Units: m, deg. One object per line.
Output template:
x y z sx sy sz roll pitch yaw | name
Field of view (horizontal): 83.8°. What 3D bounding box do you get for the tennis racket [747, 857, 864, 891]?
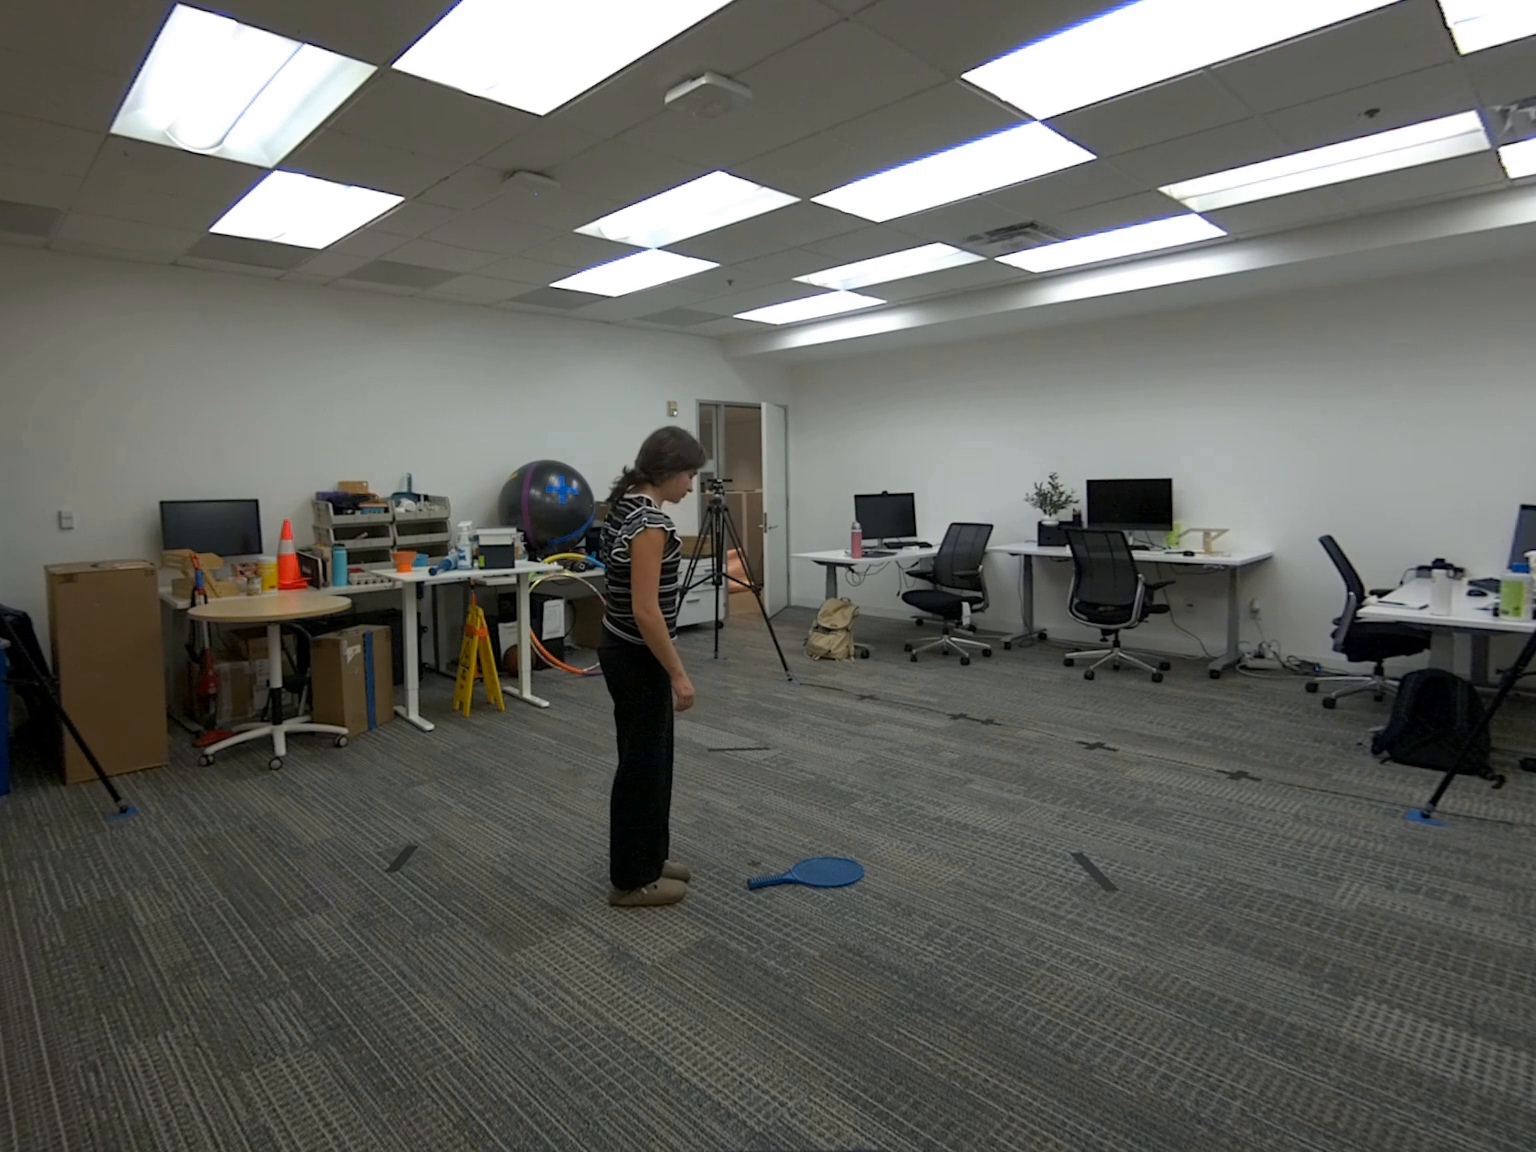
0.135 1.040 2.988 0.425 0.031 0.218 -2 6 -20 | tennis racket
